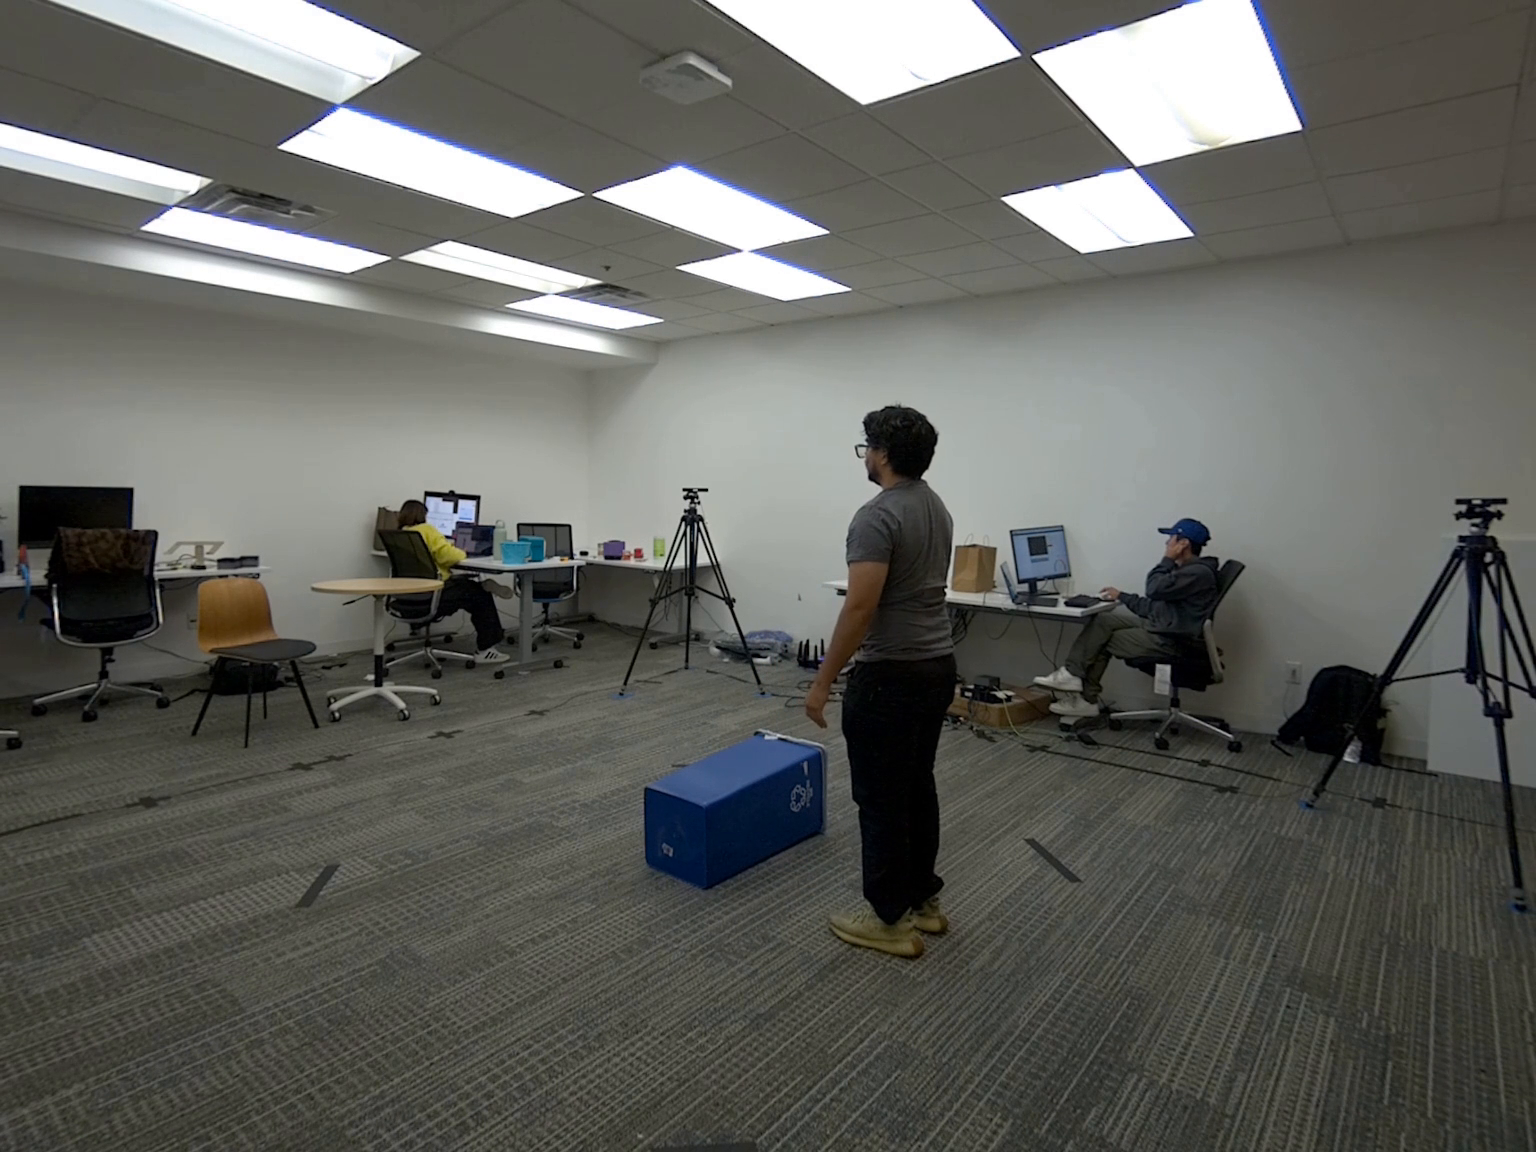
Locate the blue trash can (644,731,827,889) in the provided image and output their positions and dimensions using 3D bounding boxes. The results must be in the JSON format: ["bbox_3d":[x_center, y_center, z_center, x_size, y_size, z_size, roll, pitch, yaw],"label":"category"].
[{"bbox_3d":[-0.136,0.881,3.296,0.387,0.376,0.694,5,8,39],"label":"blue trash can"}]
